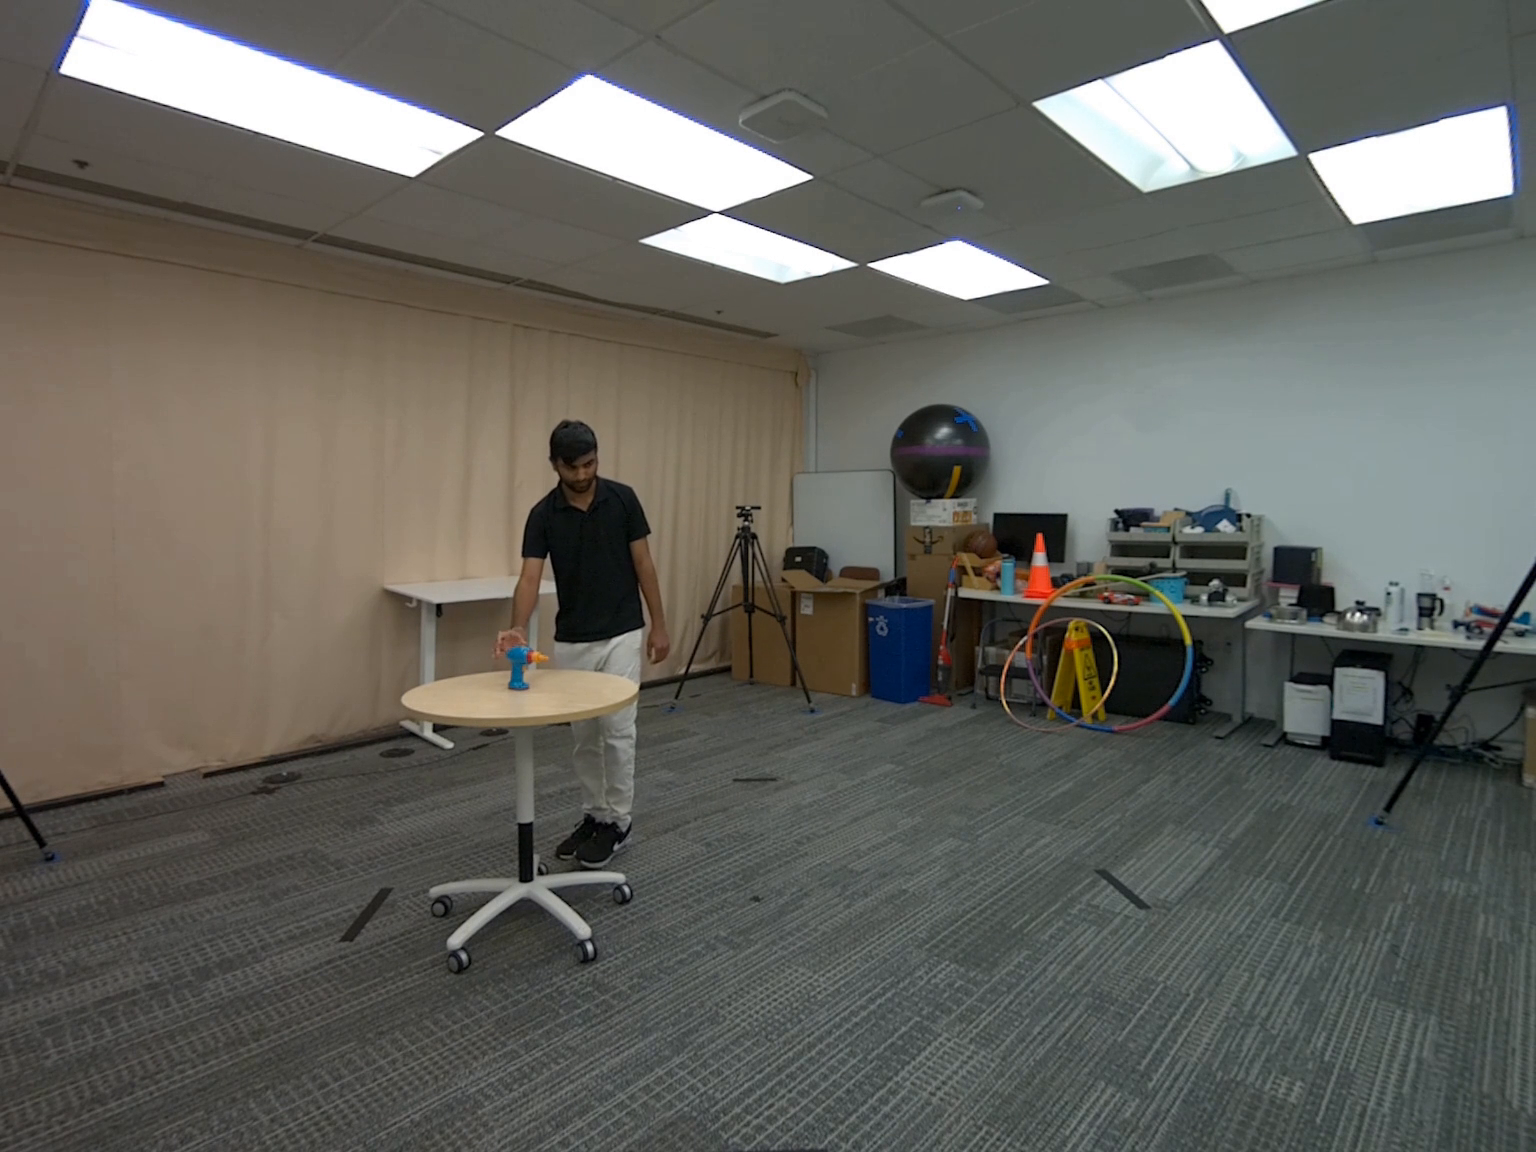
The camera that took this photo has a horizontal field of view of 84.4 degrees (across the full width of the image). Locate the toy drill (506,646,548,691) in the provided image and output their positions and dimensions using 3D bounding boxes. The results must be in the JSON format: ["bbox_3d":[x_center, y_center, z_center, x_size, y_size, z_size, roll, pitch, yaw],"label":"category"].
[{"bbox_3d":[-0.801,0.306,2.818,0.174,0.146,0.060,0,2,22],"label":"toy drill"}]
